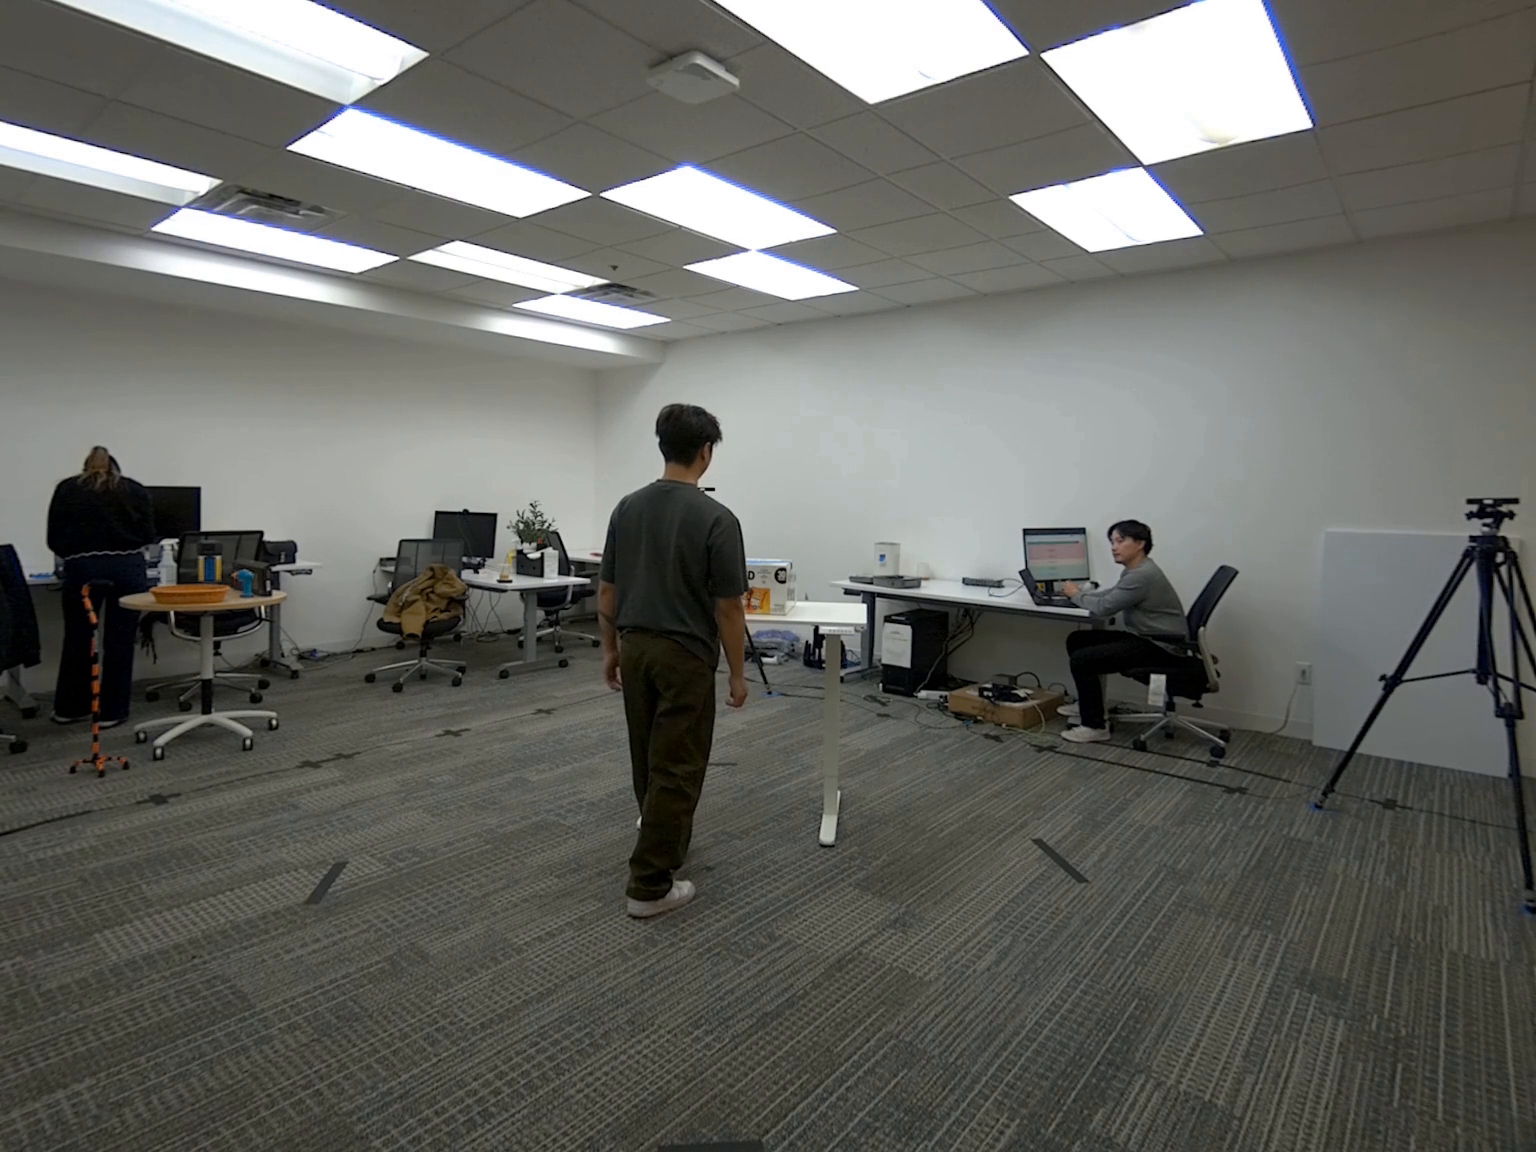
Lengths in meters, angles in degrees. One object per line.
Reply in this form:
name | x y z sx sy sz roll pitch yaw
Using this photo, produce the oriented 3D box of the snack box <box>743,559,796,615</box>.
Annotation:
snack box | -0.114 0.033 3.627 0.410 0.205 0.338 1 6 10
